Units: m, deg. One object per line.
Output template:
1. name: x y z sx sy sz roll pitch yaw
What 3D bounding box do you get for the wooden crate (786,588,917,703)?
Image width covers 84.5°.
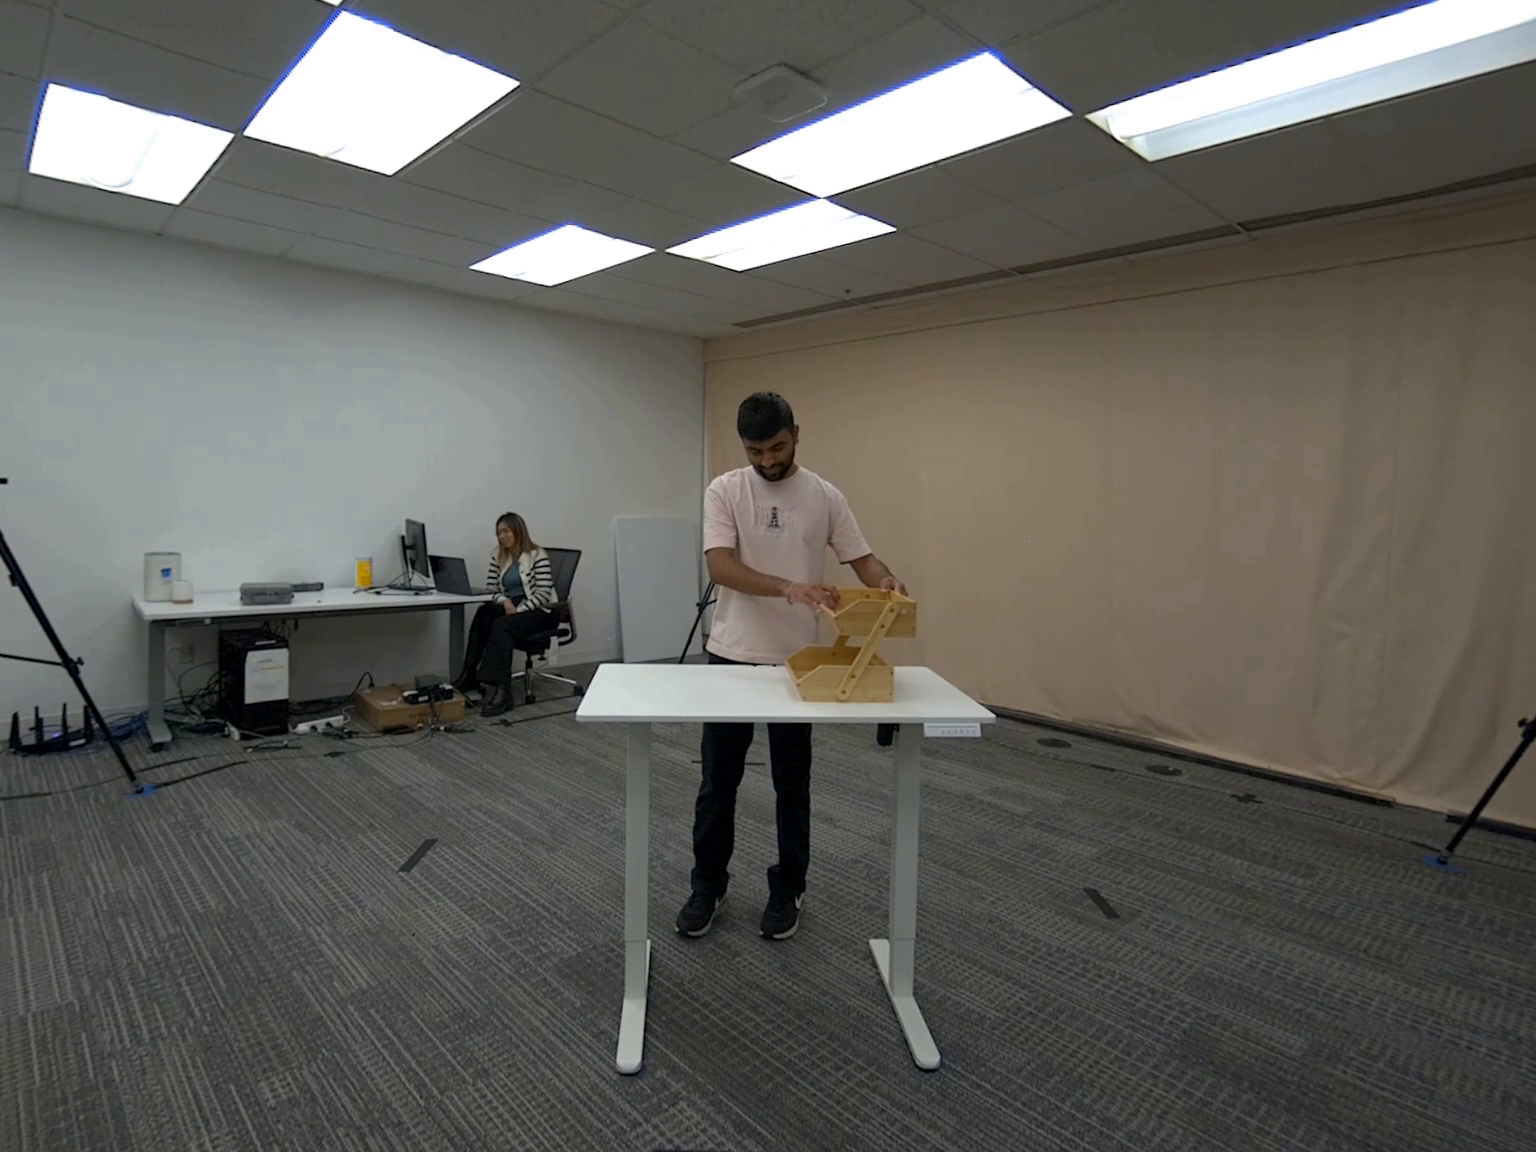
1. wooden crate: 0.201 0.178 2.268 0.301 0.273 0.326 2 4 -3
